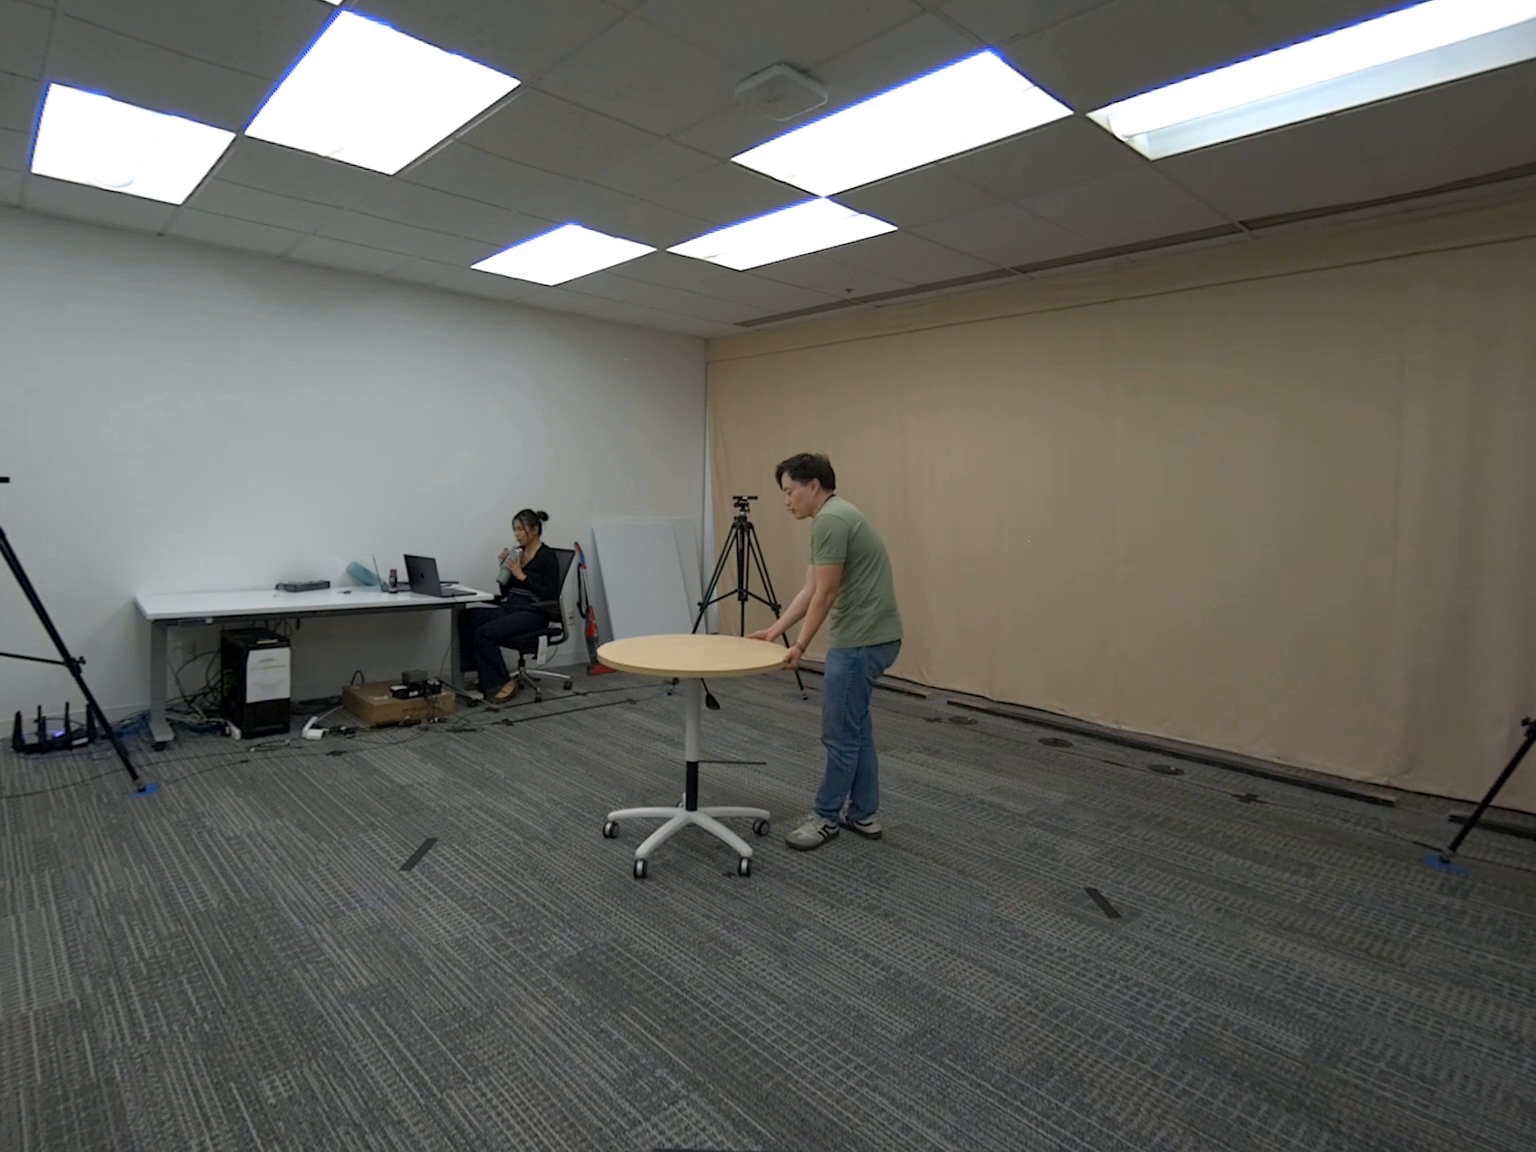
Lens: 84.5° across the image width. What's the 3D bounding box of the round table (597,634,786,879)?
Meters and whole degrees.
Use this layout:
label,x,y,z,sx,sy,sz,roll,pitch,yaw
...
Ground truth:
label,x,y,z,sx,sy,sz,roll,pitch,yaw
round table,-0.312,0.688,3.348,0.763,0.792,0.767,1,4,-1
